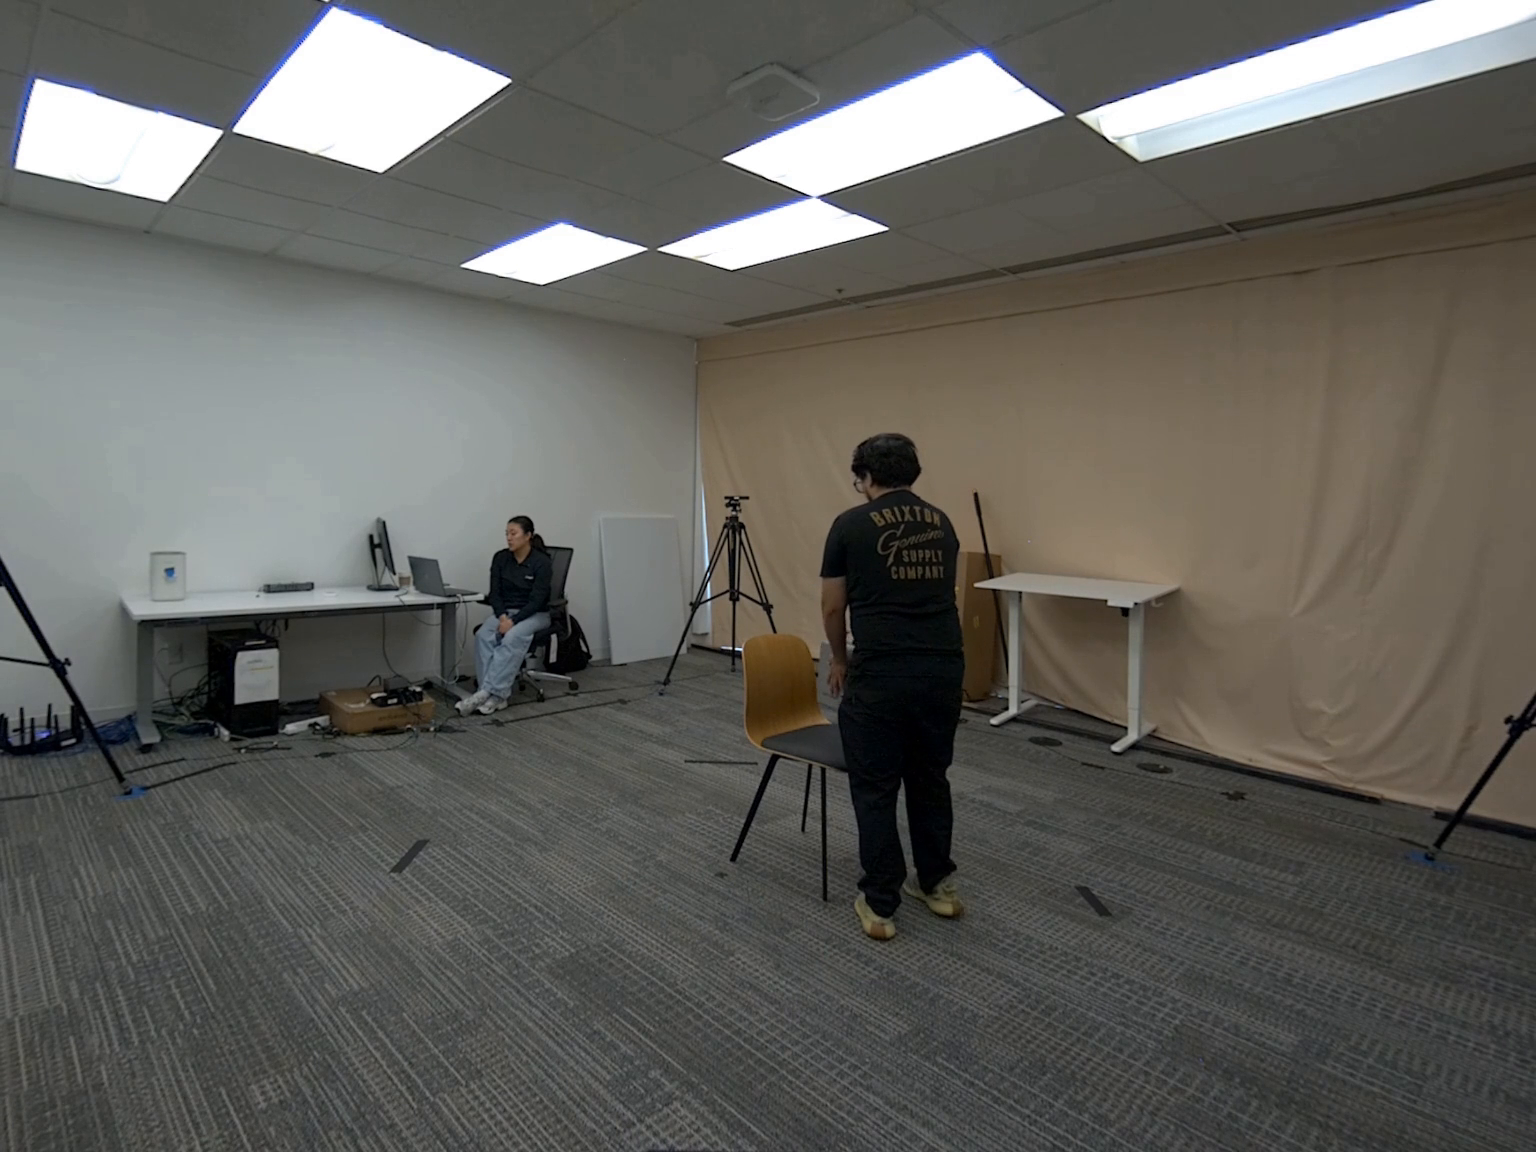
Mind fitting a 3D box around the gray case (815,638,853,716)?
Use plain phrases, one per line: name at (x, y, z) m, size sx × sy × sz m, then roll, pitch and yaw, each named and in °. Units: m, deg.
gray case at (0.286, 0.369, 3.074) m, size 0.102 × 0.260 × 0.262 m, roll 1°, pitch 2°, yaw -28°
